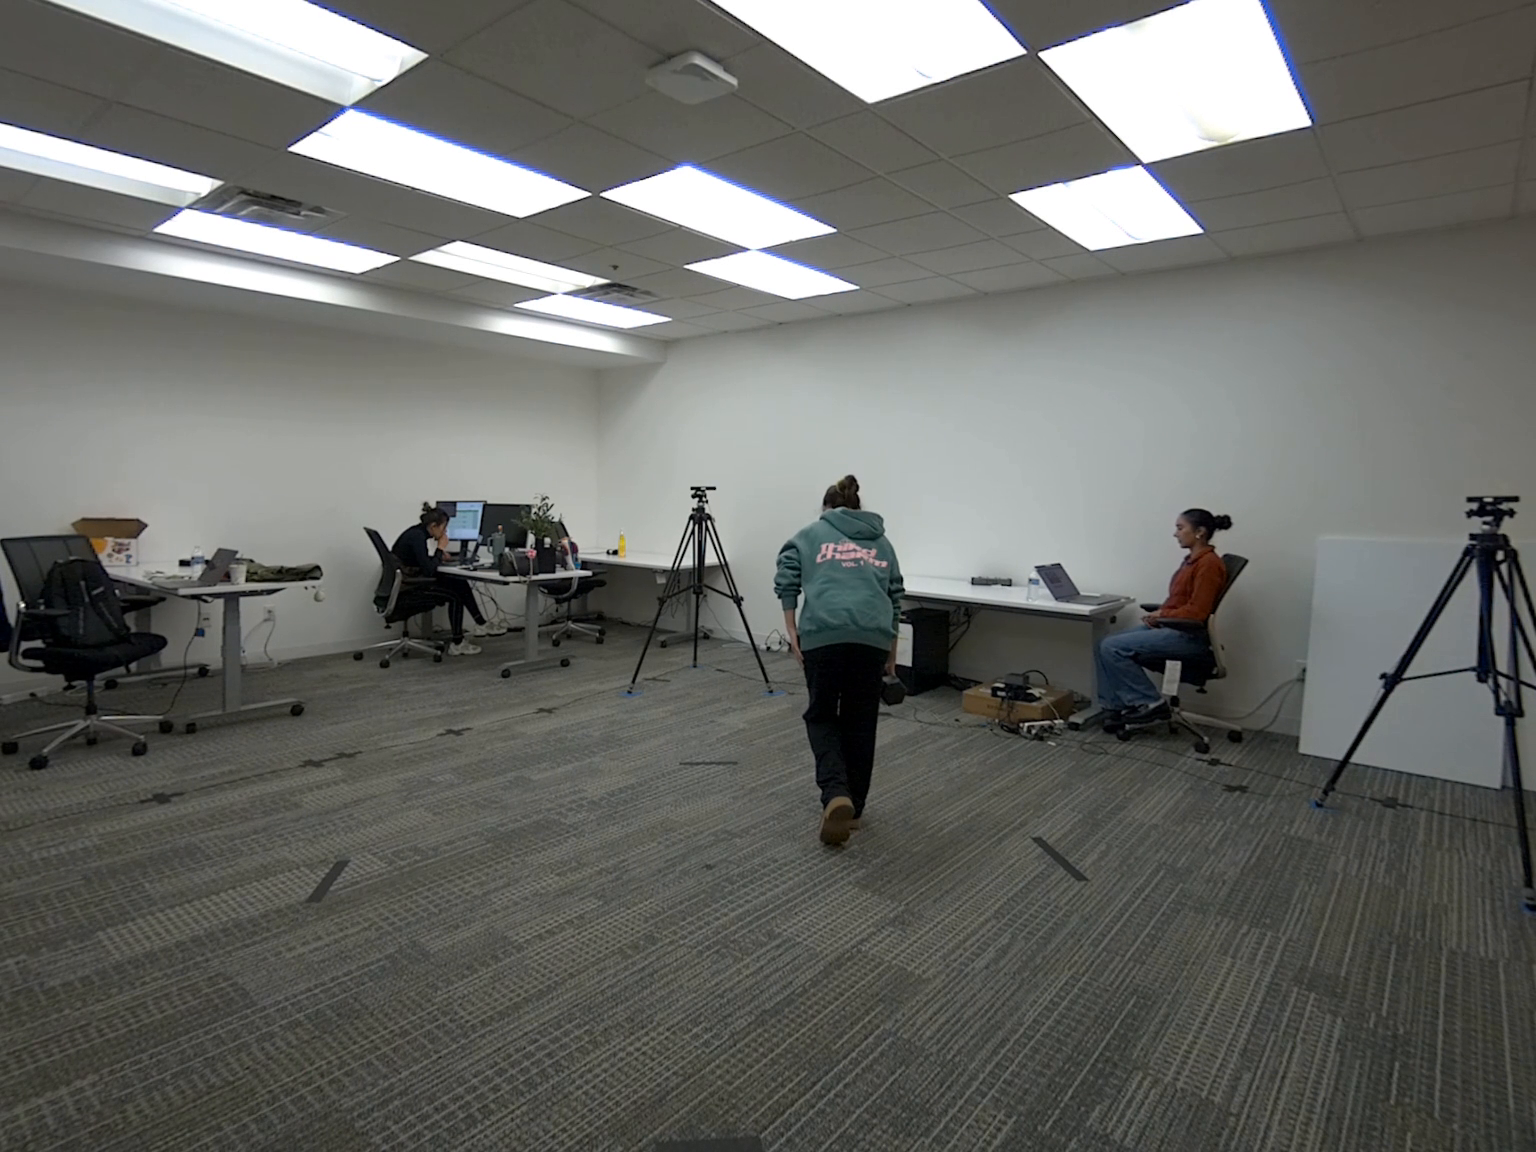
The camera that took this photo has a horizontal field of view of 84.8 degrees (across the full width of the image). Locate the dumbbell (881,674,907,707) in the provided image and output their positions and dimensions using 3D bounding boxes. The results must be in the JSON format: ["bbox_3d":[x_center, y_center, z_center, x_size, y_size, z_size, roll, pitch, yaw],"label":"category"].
[{"bbox_3d":[0.483,0.461,3.650,0.107,0.123,0.299,20,4,-15],"label":"dumbbell"}]
